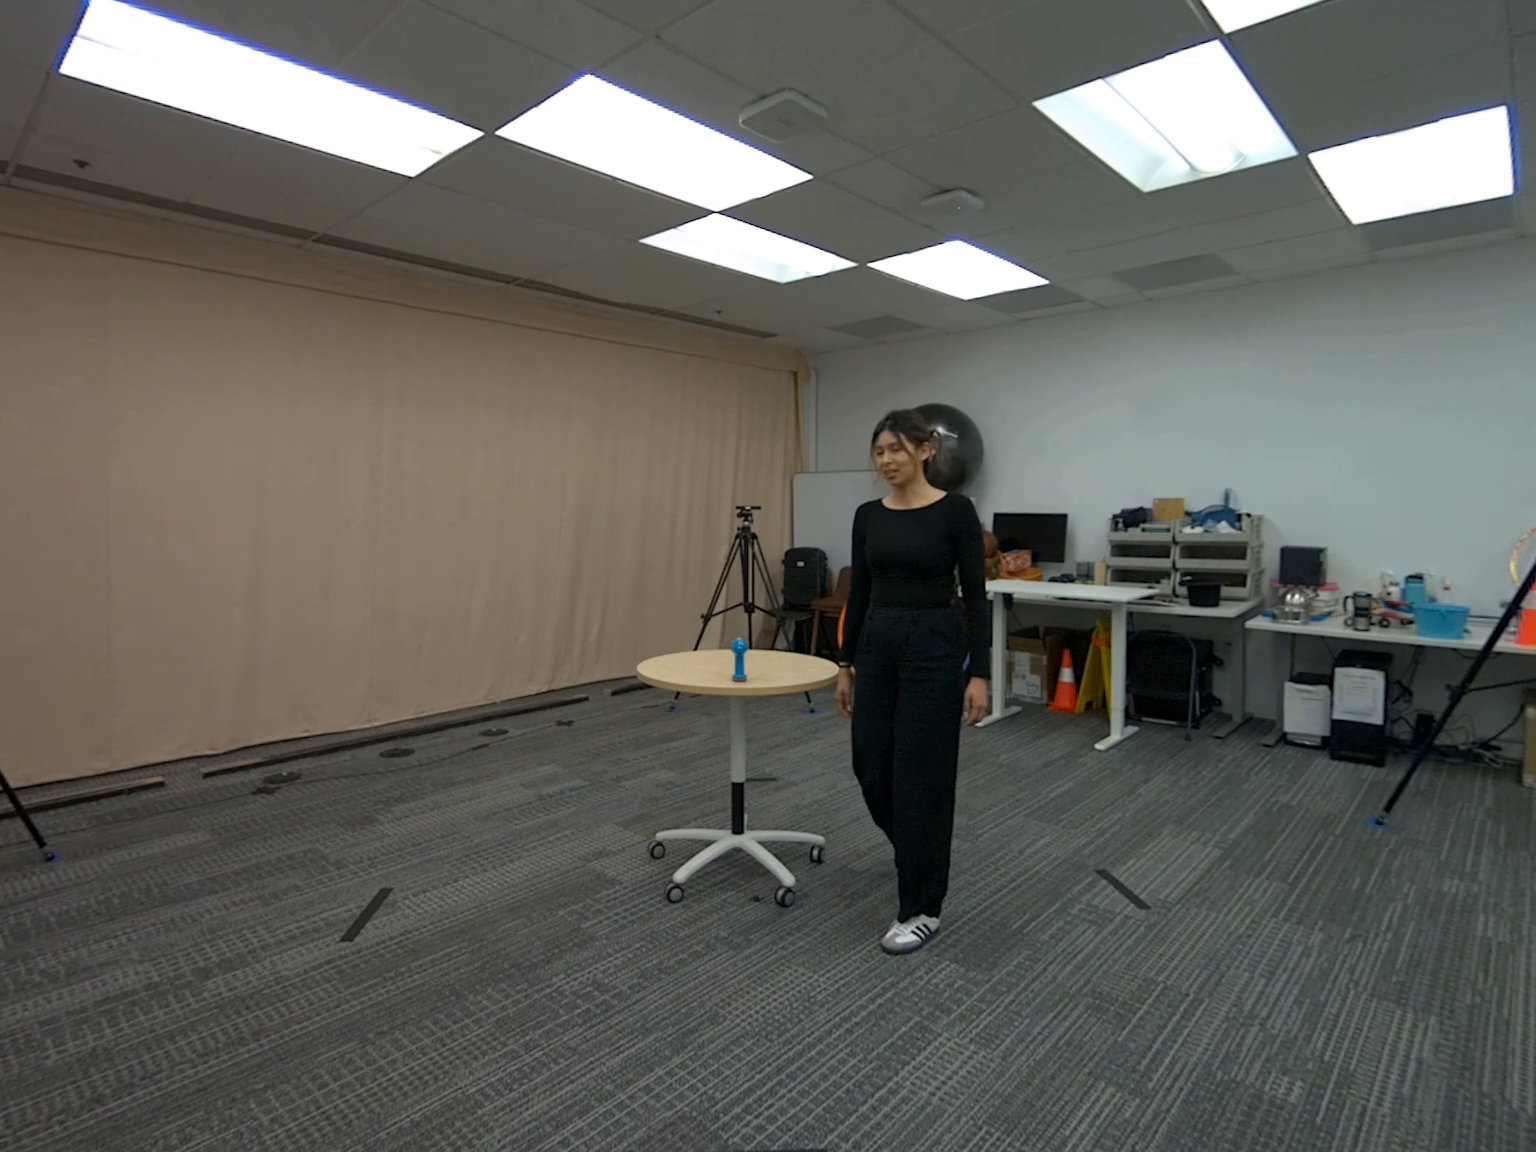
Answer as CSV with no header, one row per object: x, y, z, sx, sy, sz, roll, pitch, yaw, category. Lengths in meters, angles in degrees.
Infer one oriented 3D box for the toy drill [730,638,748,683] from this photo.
-0.098,0.292,2.967,0.061,0.146,0.171,-1,2,-8,toy drill
